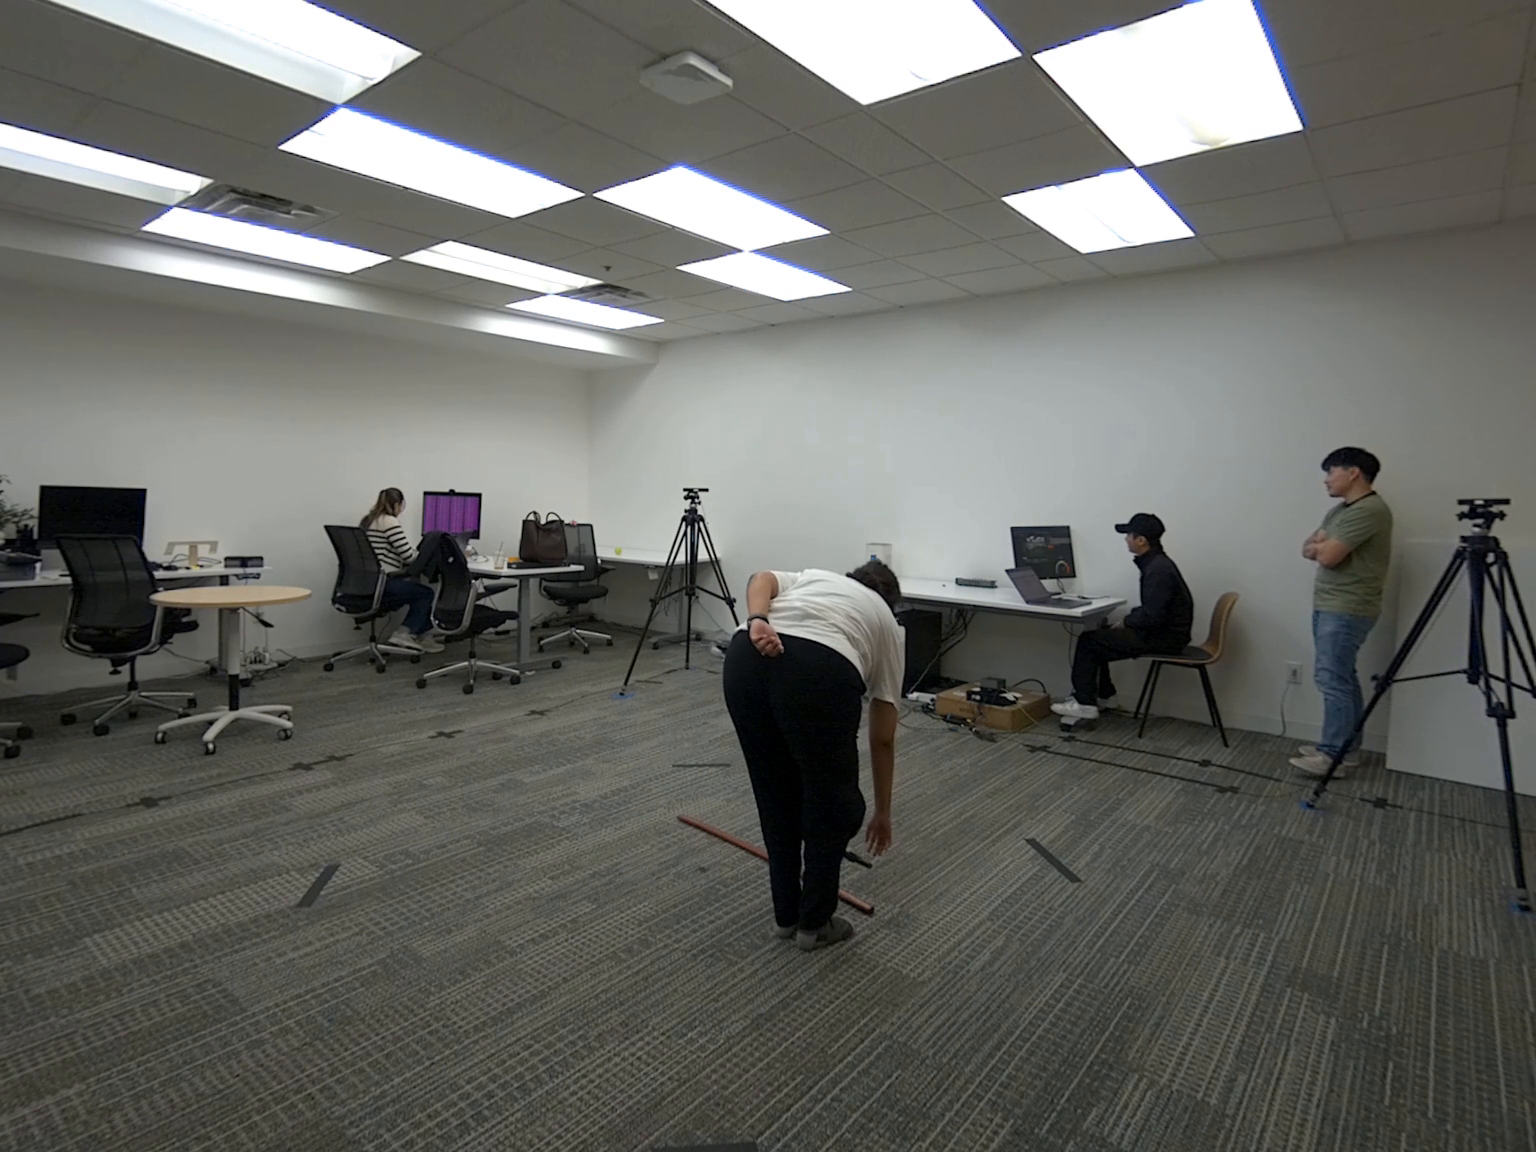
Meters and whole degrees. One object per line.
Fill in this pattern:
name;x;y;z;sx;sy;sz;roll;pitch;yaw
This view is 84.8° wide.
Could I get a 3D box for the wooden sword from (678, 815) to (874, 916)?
wooden sword;-0.023;1.044;3.186;0.050;0.024;1.060;-2;6;-42
